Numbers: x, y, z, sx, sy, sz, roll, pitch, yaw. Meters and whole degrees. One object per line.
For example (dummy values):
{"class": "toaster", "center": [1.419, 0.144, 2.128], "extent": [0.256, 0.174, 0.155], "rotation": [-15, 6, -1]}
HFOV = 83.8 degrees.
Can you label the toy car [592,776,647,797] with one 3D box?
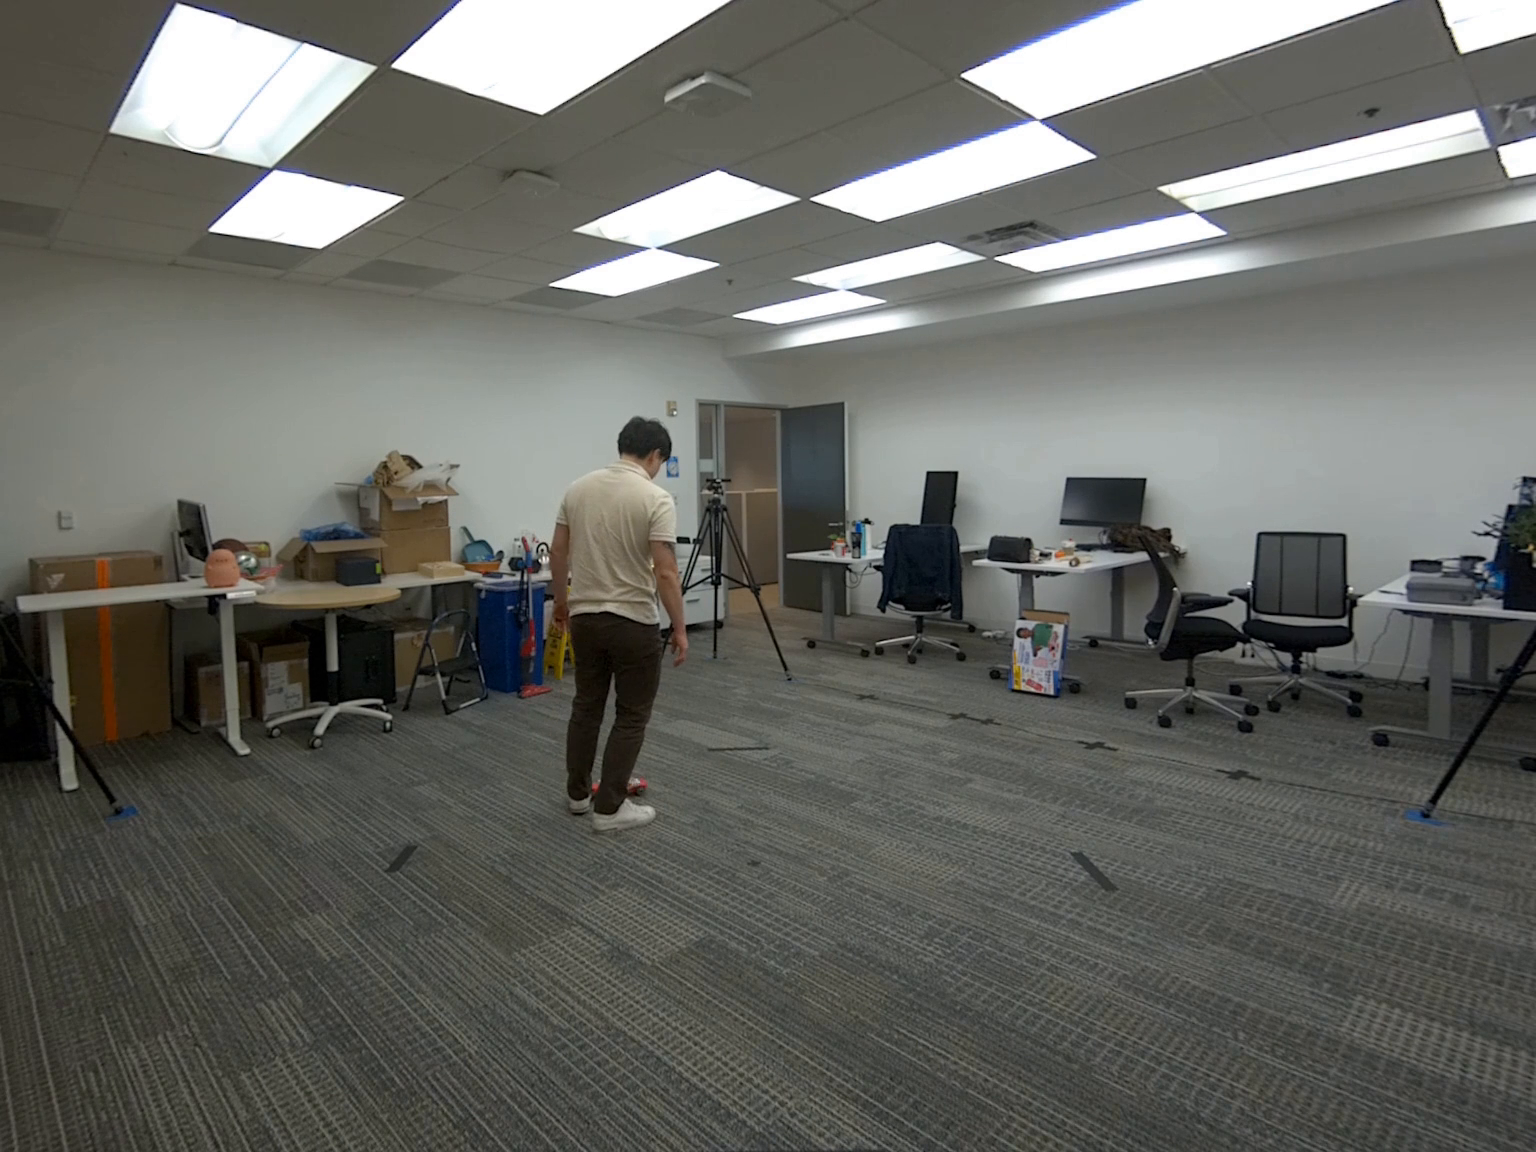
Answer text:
{"class": "toy car", "center": [-0.676, 0.946, 3.821], "extent": [0.249, 0.083, 0.133], "rotation": [8, 2, -21]}
